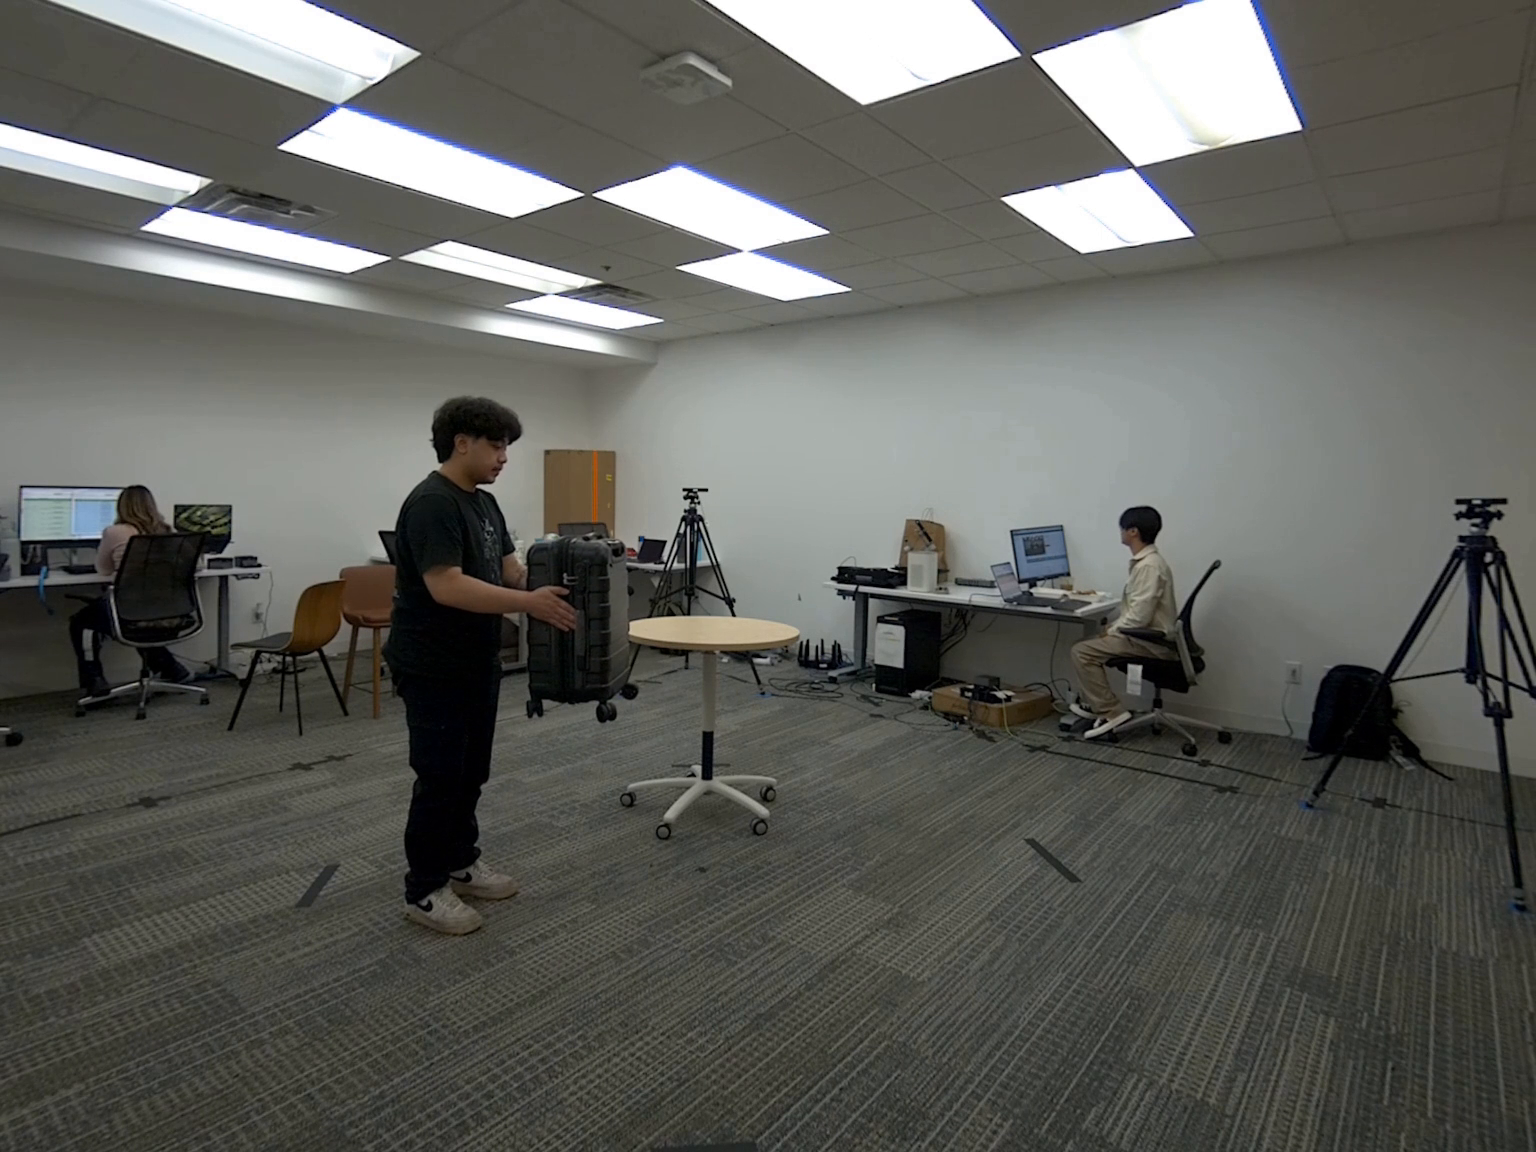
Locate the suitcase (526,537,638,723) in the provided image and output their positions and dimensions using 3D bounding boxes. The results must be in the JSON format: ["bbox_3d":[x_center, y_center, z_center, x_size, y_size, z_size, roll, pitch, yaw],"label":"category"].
[{"bbox_3d":[-0.608,0.147,2.682,0.250,0.548,0.373,0,3,7],"label":"suitcase"}]
